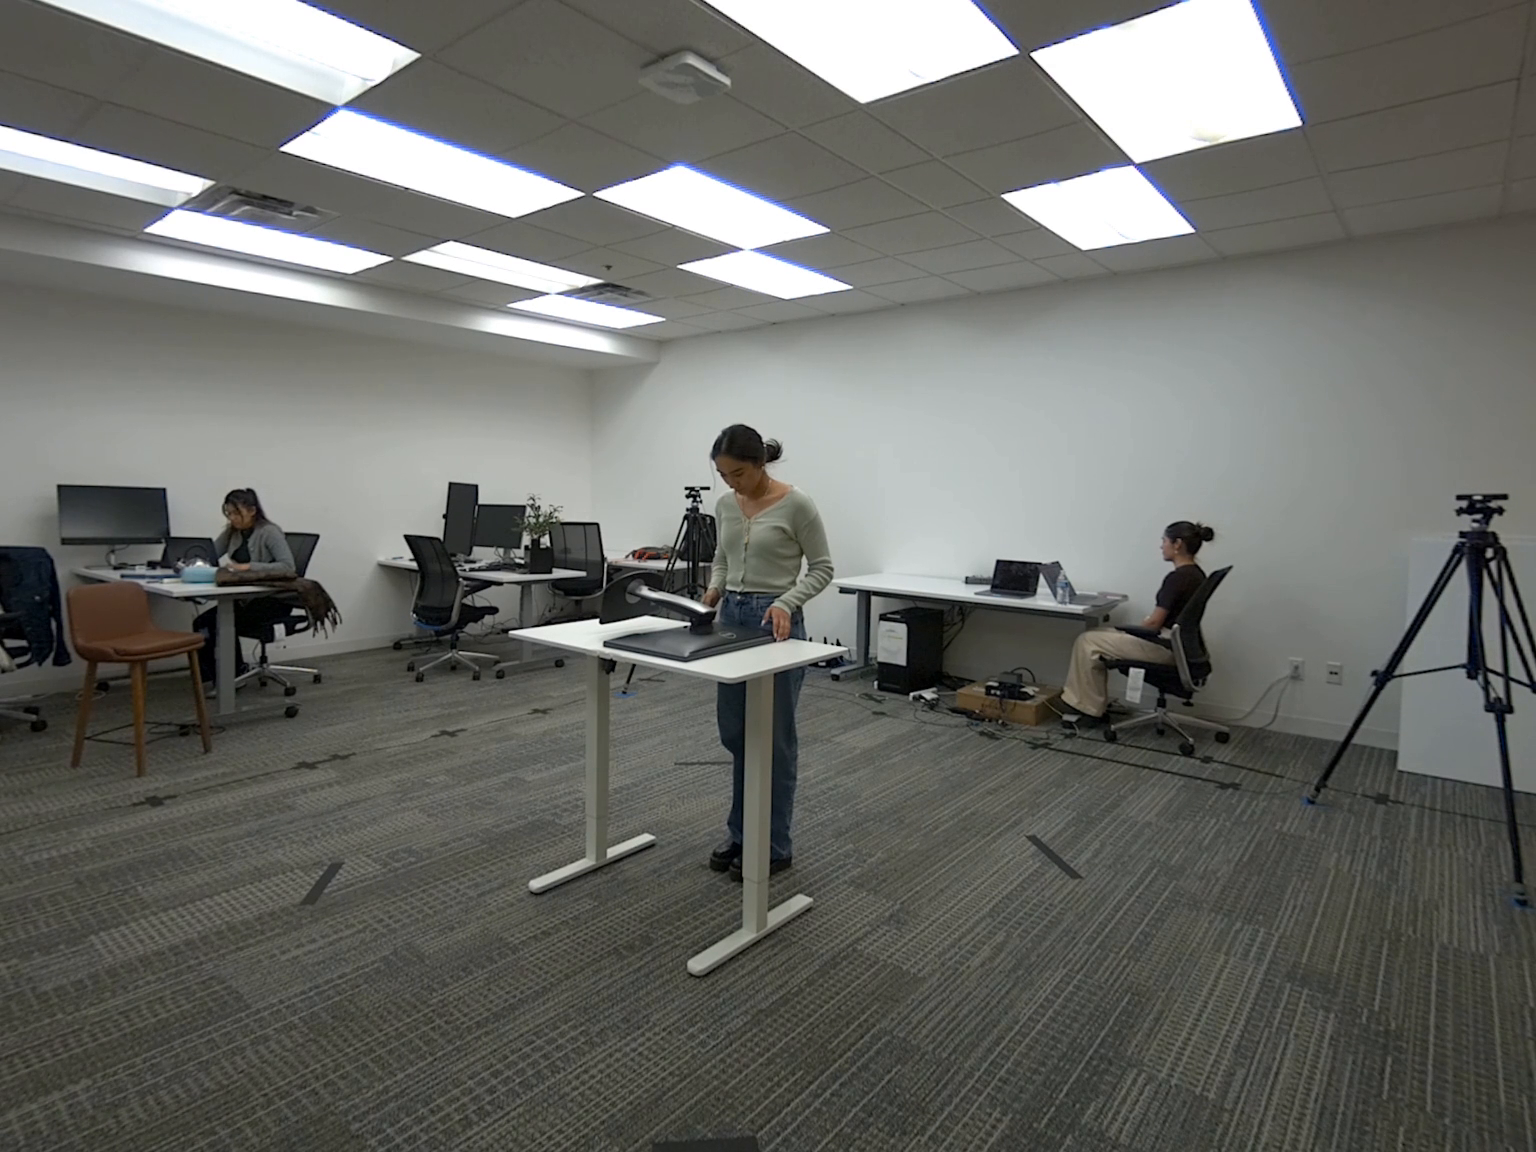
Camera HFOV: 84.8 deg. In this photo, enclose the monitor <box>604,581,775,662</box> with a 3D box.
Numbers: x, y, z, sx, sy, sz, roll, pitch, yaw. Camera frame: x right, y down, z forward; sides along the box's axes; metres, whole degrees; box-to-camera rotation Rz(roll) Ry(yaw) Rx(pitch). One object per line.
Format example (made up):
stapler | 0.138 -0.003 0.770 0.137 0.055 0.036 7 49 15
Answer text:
monitor | -0.296 0.150 2.833 0.543 0.185 0.524 22 21 36
